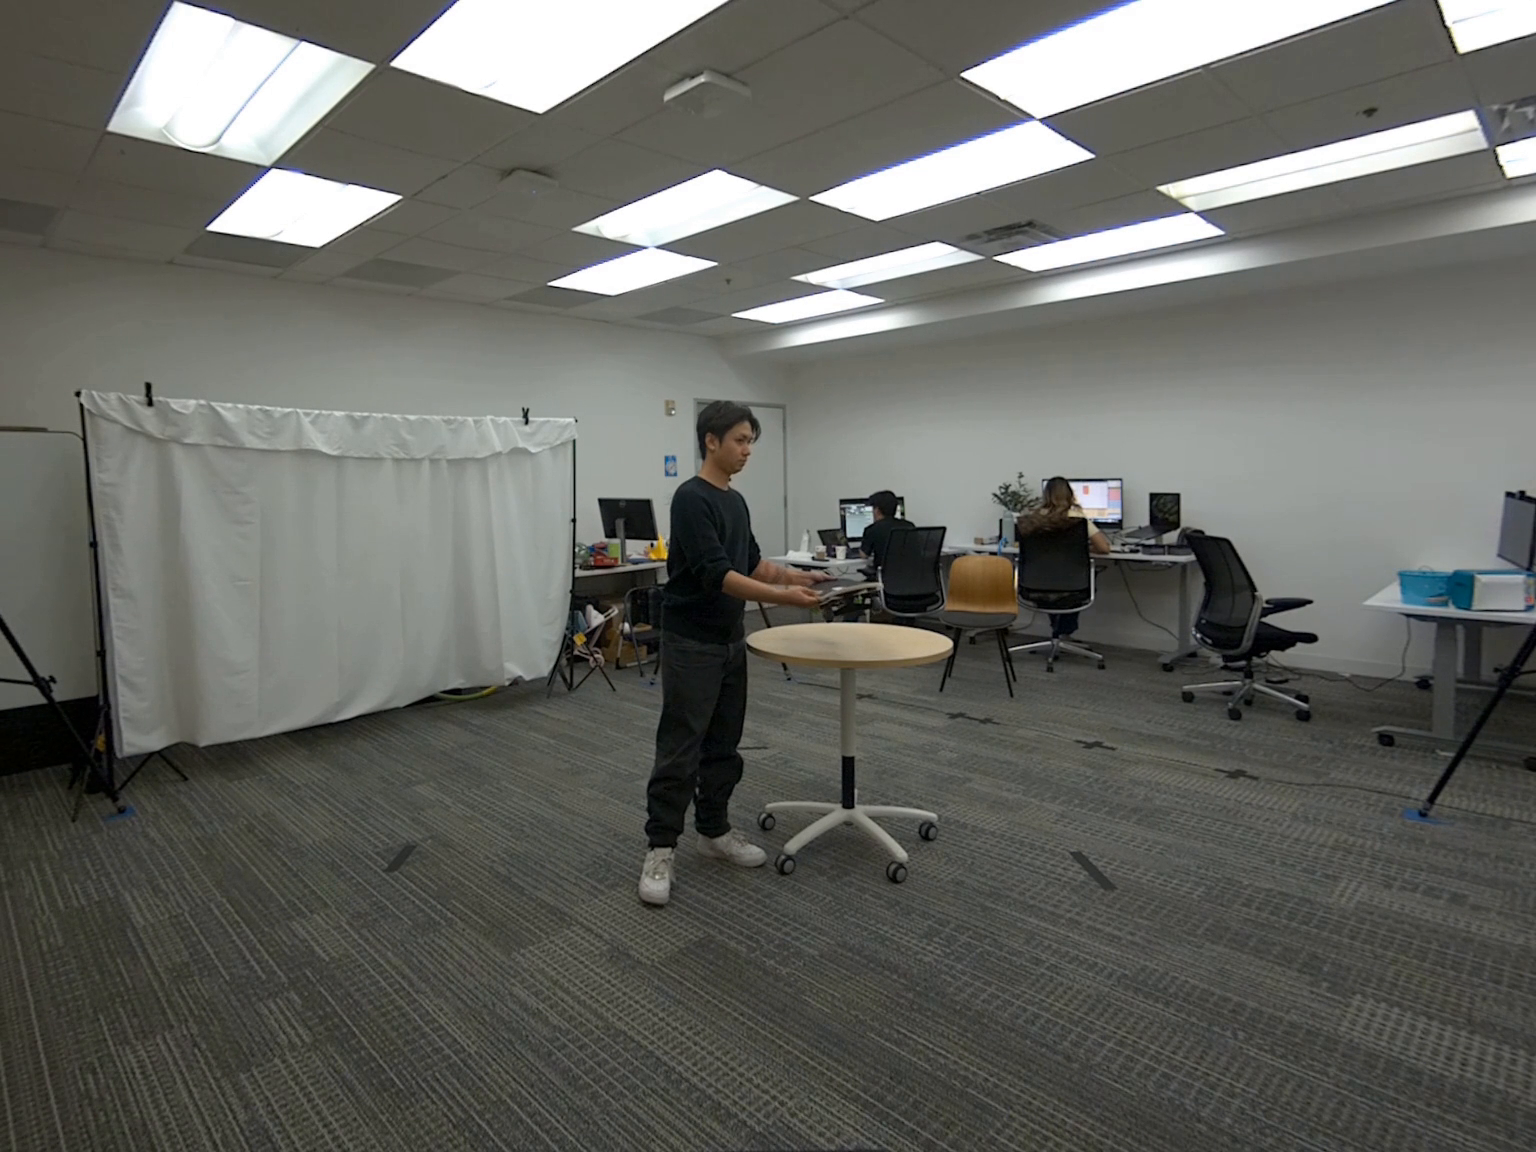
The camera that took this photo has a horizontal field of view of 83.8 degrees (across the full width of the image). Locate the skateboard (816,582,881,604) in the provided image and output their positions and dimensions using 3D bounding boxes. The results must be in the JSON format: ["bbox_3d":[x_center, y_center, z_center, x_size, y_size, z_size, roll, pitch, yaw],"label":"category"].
[{"bbox_3d":[0.229,0.075,2.943,0.193,0.110,0.788,-10,1,-5],"label":"skateboard"}]
